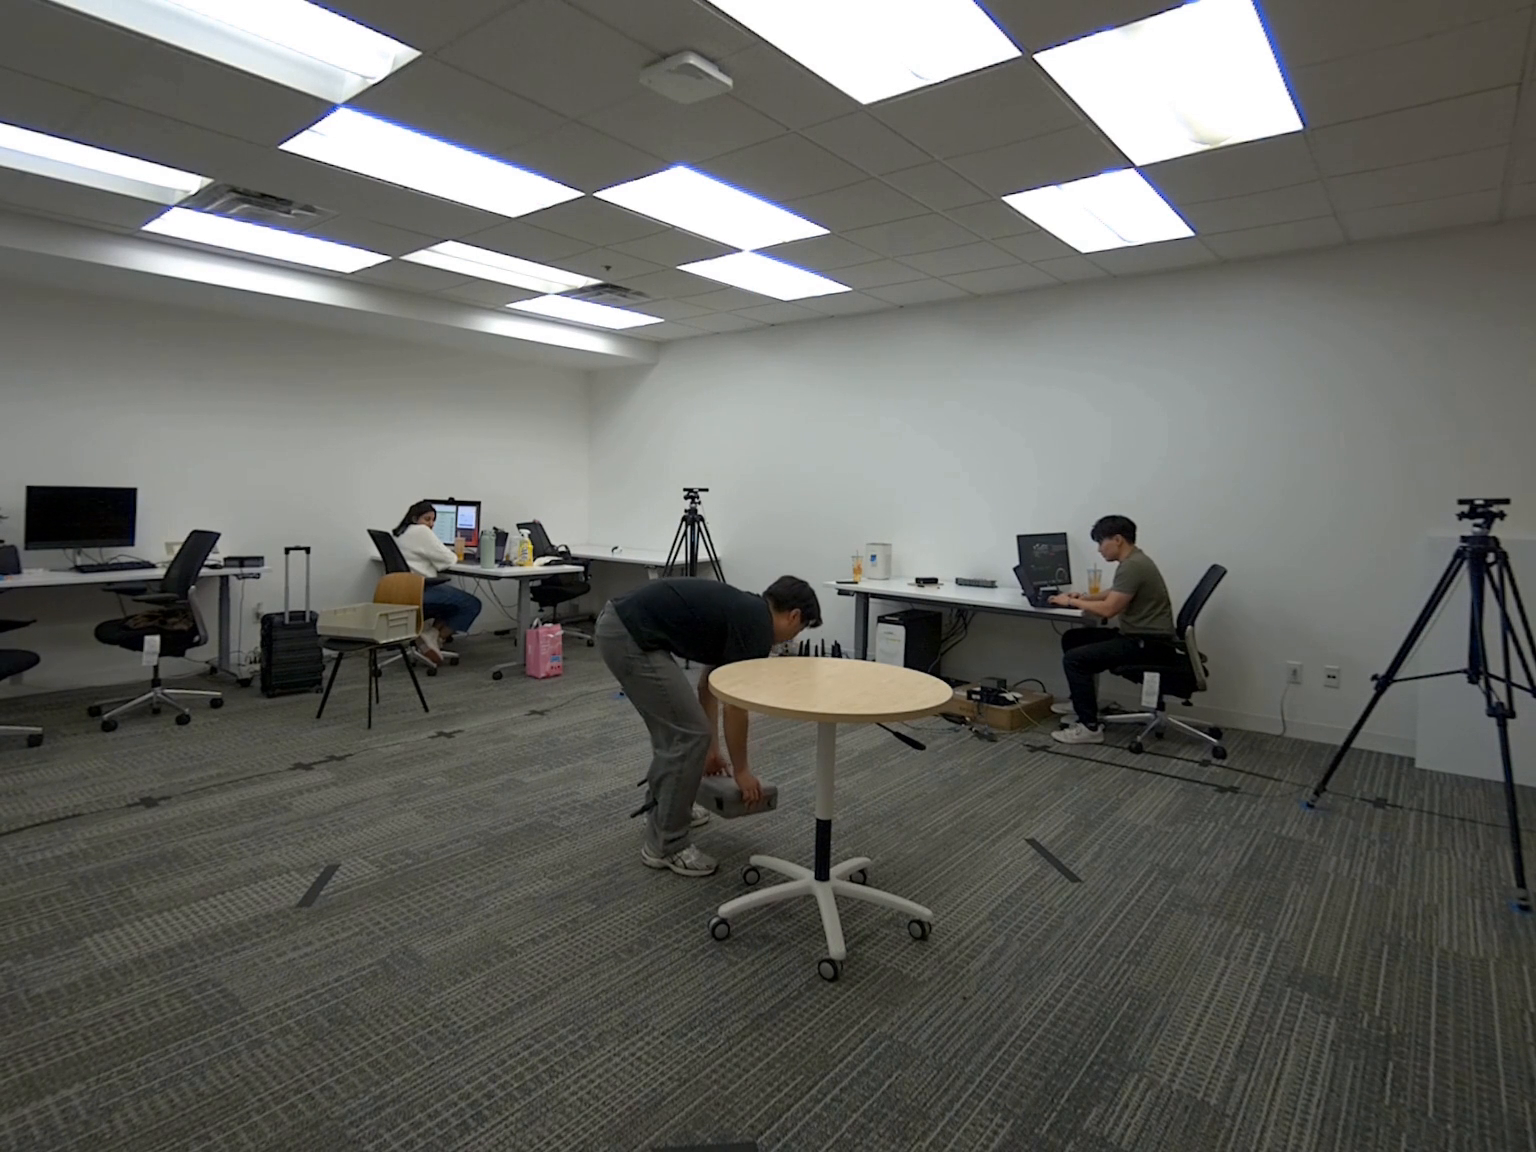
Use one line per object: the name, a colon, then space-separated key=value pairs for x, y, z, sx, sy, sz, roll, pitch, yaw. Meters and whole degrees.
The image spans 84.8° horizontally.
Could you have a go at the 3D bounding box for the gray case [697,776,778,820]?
gray case: x=-0.123 y=0.836 z=3.308 sx=0.279 sy=0.103 sz=0.270 roll=1 pitch=1 yaw=-30
